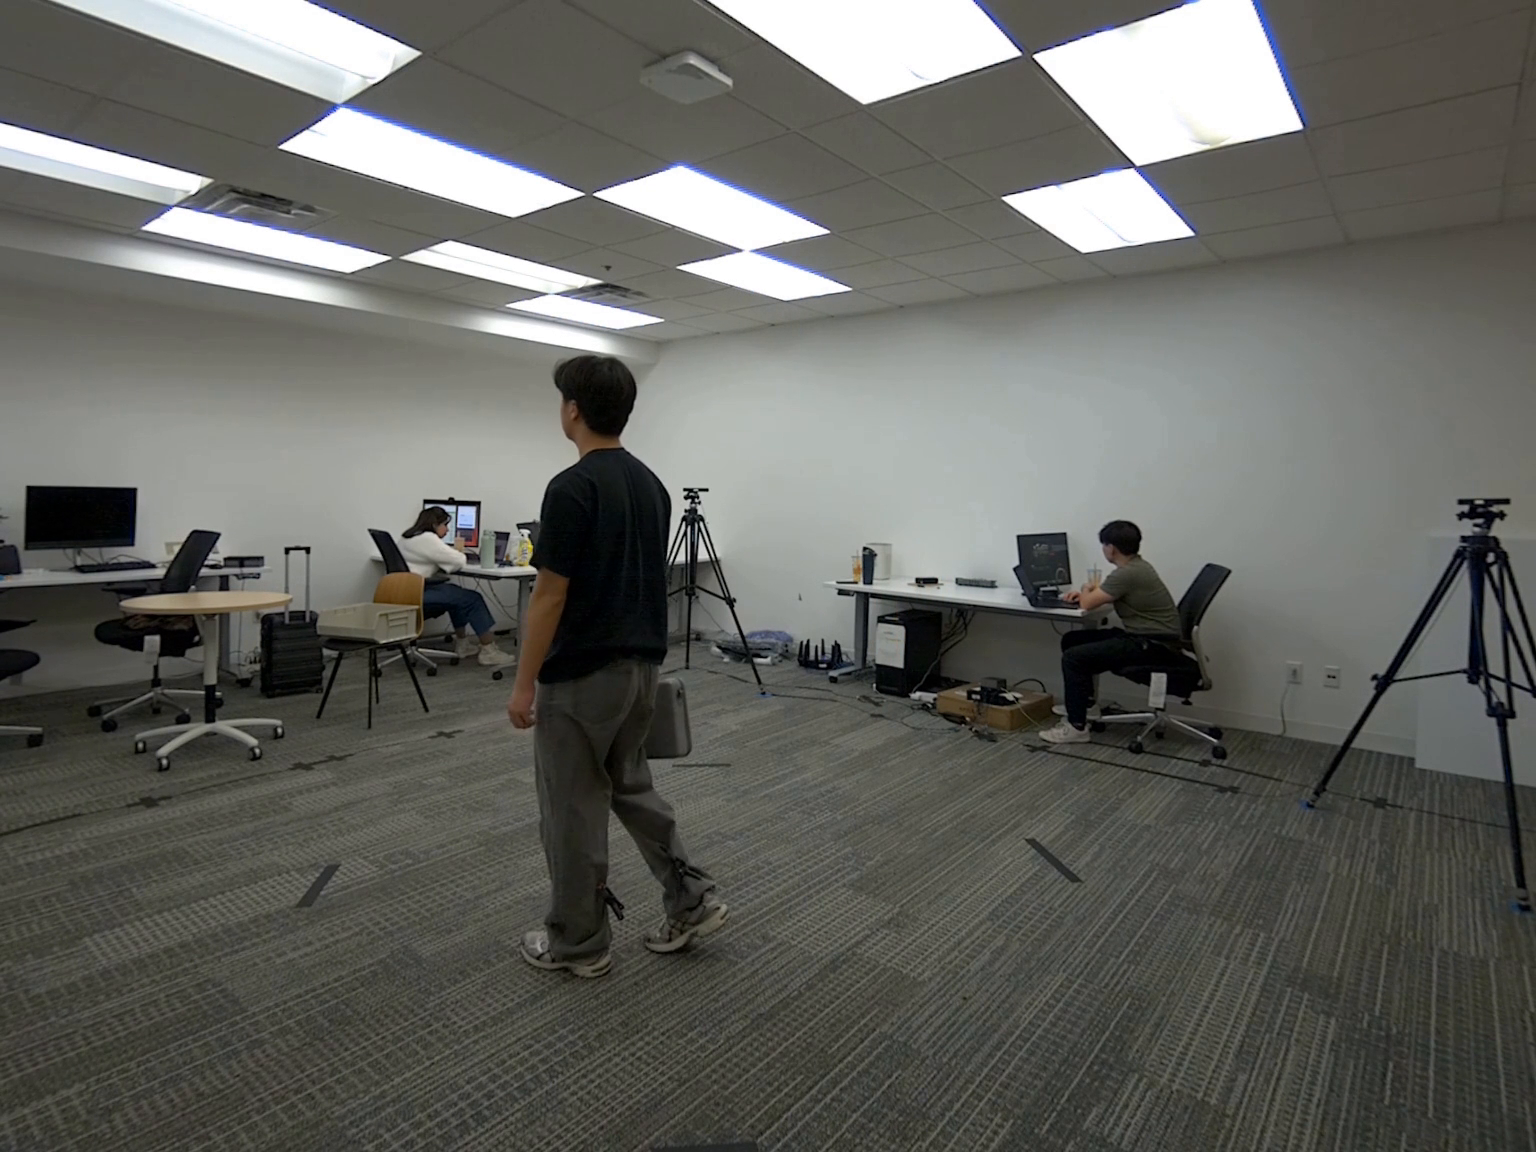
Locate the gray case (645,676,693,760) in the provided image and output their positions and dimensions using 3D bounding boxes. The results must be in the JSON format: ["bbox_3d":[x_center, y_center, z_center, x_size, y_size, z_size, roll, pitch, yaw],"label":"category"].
[{"bbox_3d":[-0.394,0.446,2.743,0.268,0.289,0.100,-10,-7,25],"label":"gray case"}]
